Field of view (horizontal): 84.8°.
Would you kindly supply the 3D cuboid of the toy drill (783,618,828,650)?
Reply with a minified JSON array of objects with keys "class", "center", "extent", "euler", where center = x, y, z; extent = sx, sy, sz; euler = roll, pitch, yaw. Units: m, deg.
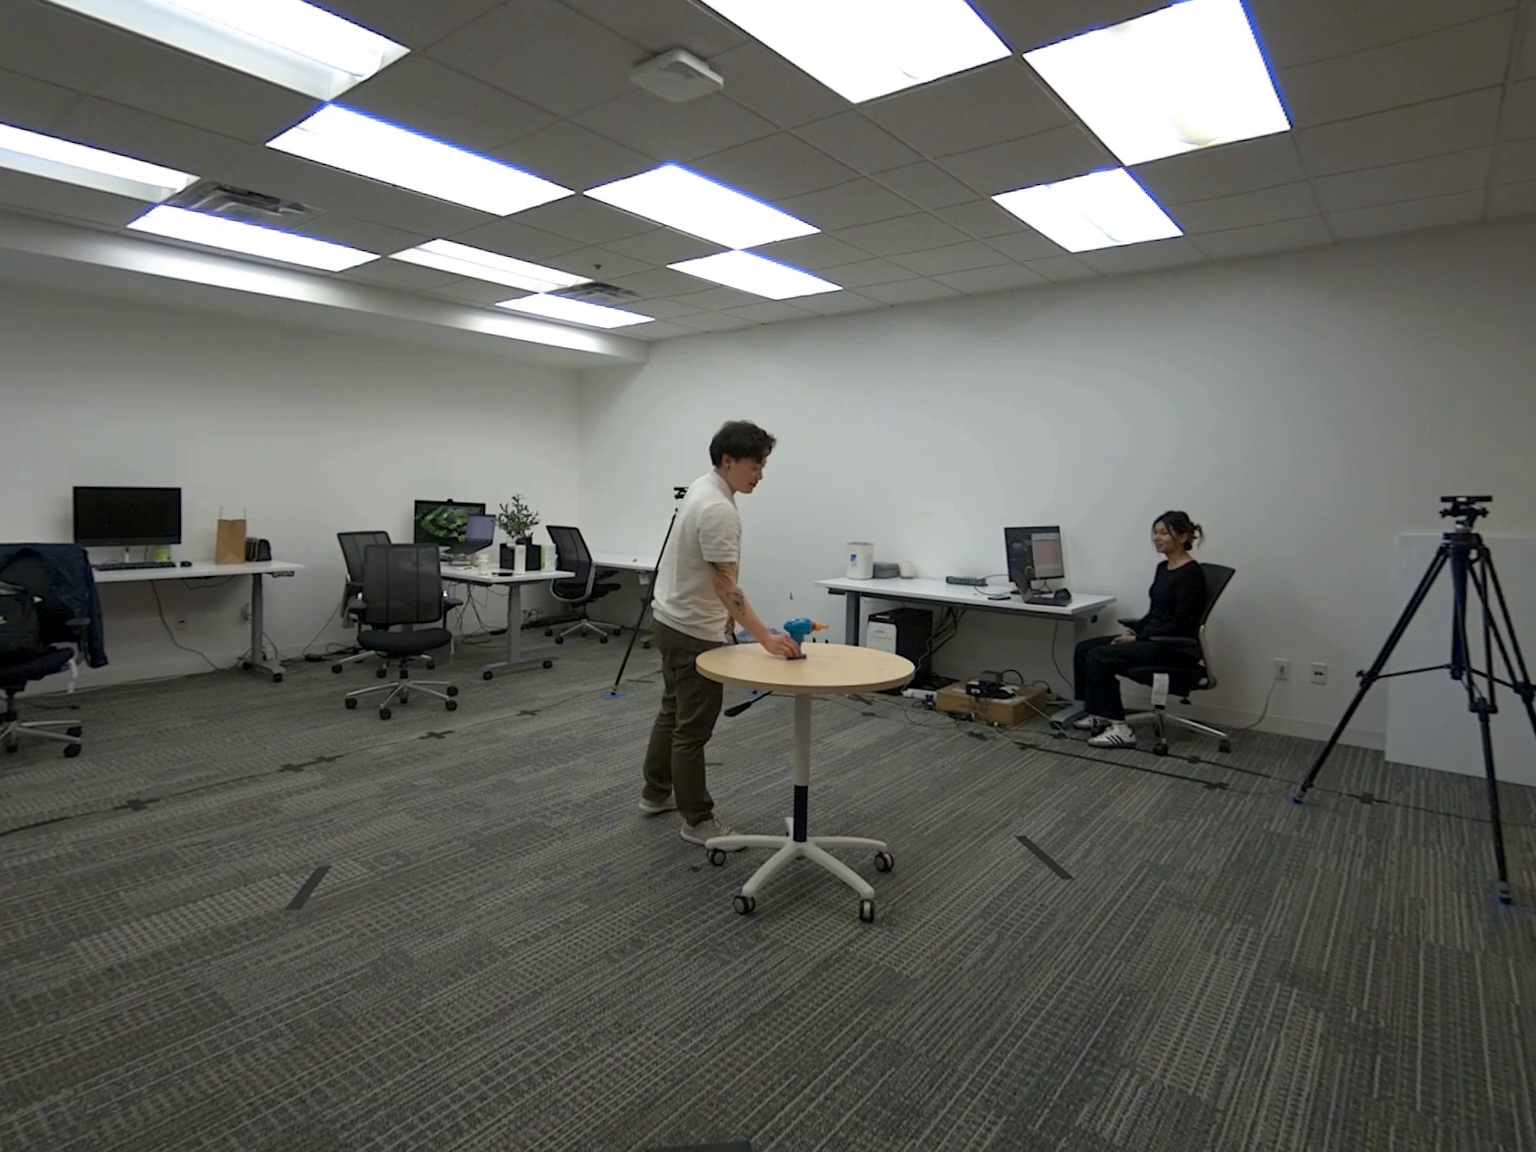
[{"class":"toy drill","center":[0.137,0.218,3.071],"extent":[0.168,0.145,0.062],"euler":[0,3,-12]}]
